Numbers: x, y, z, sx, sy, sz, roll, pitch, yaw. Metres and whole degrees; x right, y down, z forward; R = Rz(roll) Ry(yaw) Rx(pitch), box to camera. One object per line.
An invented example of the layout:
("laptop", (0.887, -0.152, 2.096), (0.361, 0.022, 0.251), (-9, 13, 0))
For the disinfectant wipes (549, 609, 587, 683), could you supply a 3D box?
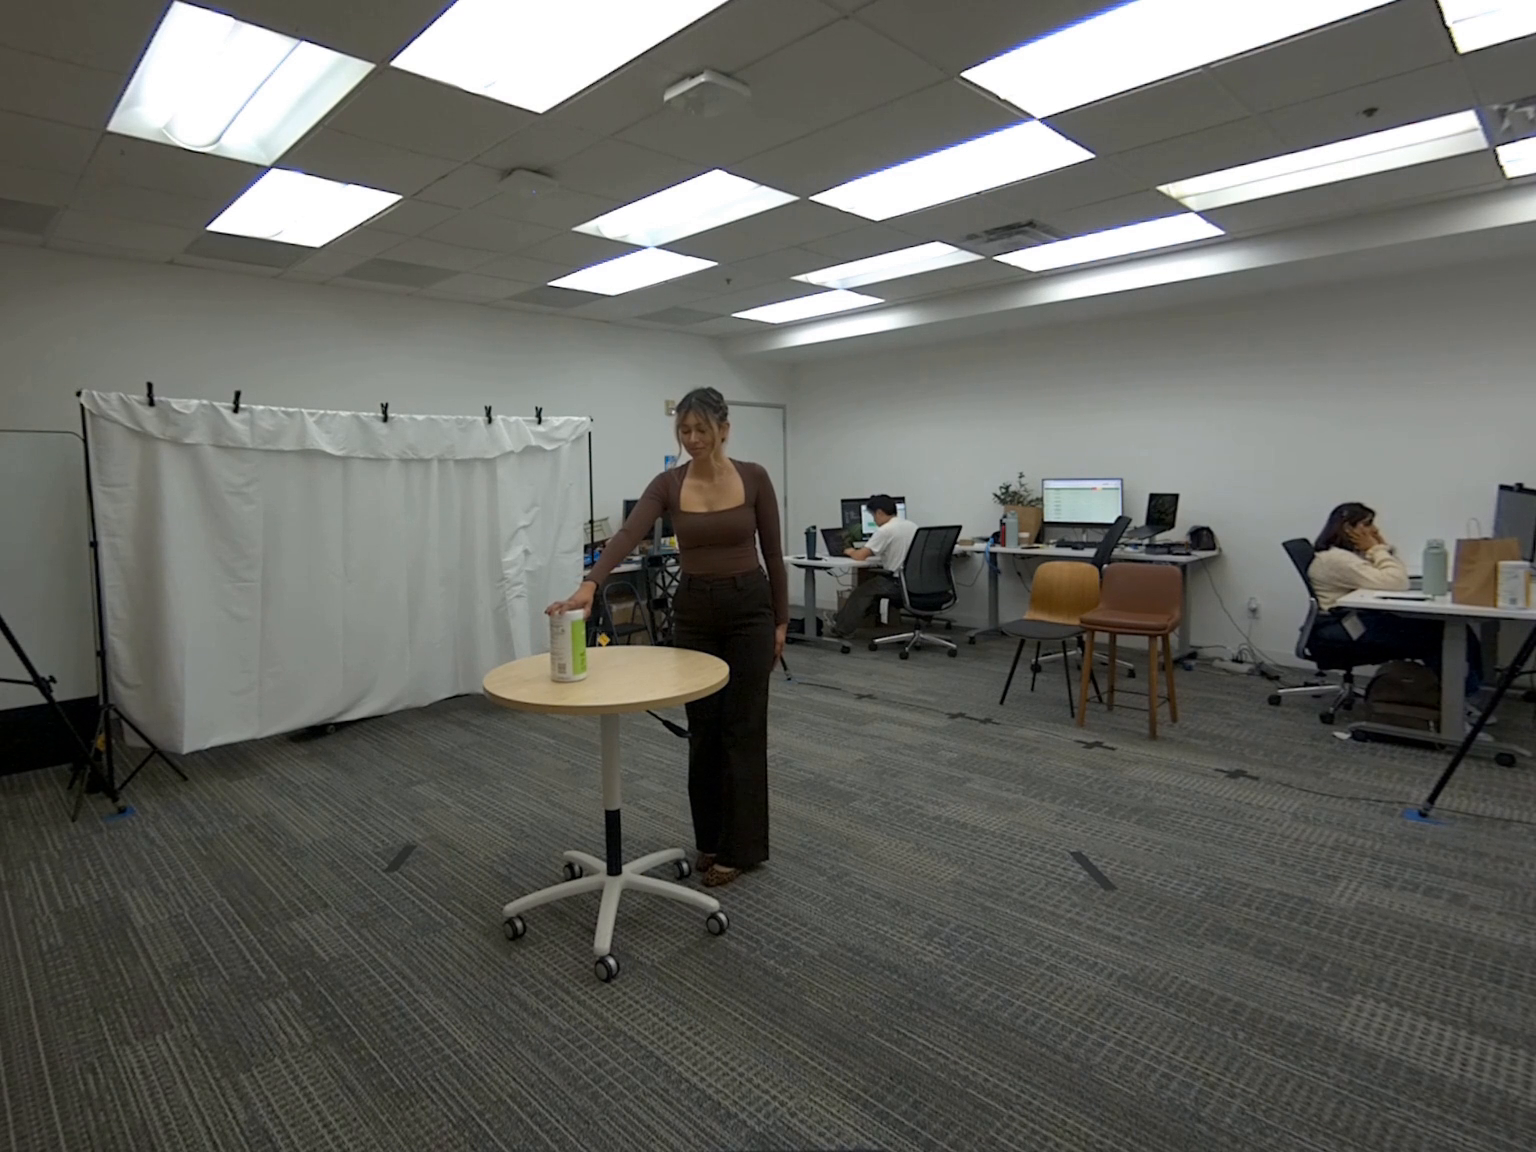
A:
("disinfectant wipes", (-0.609, 0.207, 2.607), (0.118, 0.217, 0.118), (0, 2, -2))
